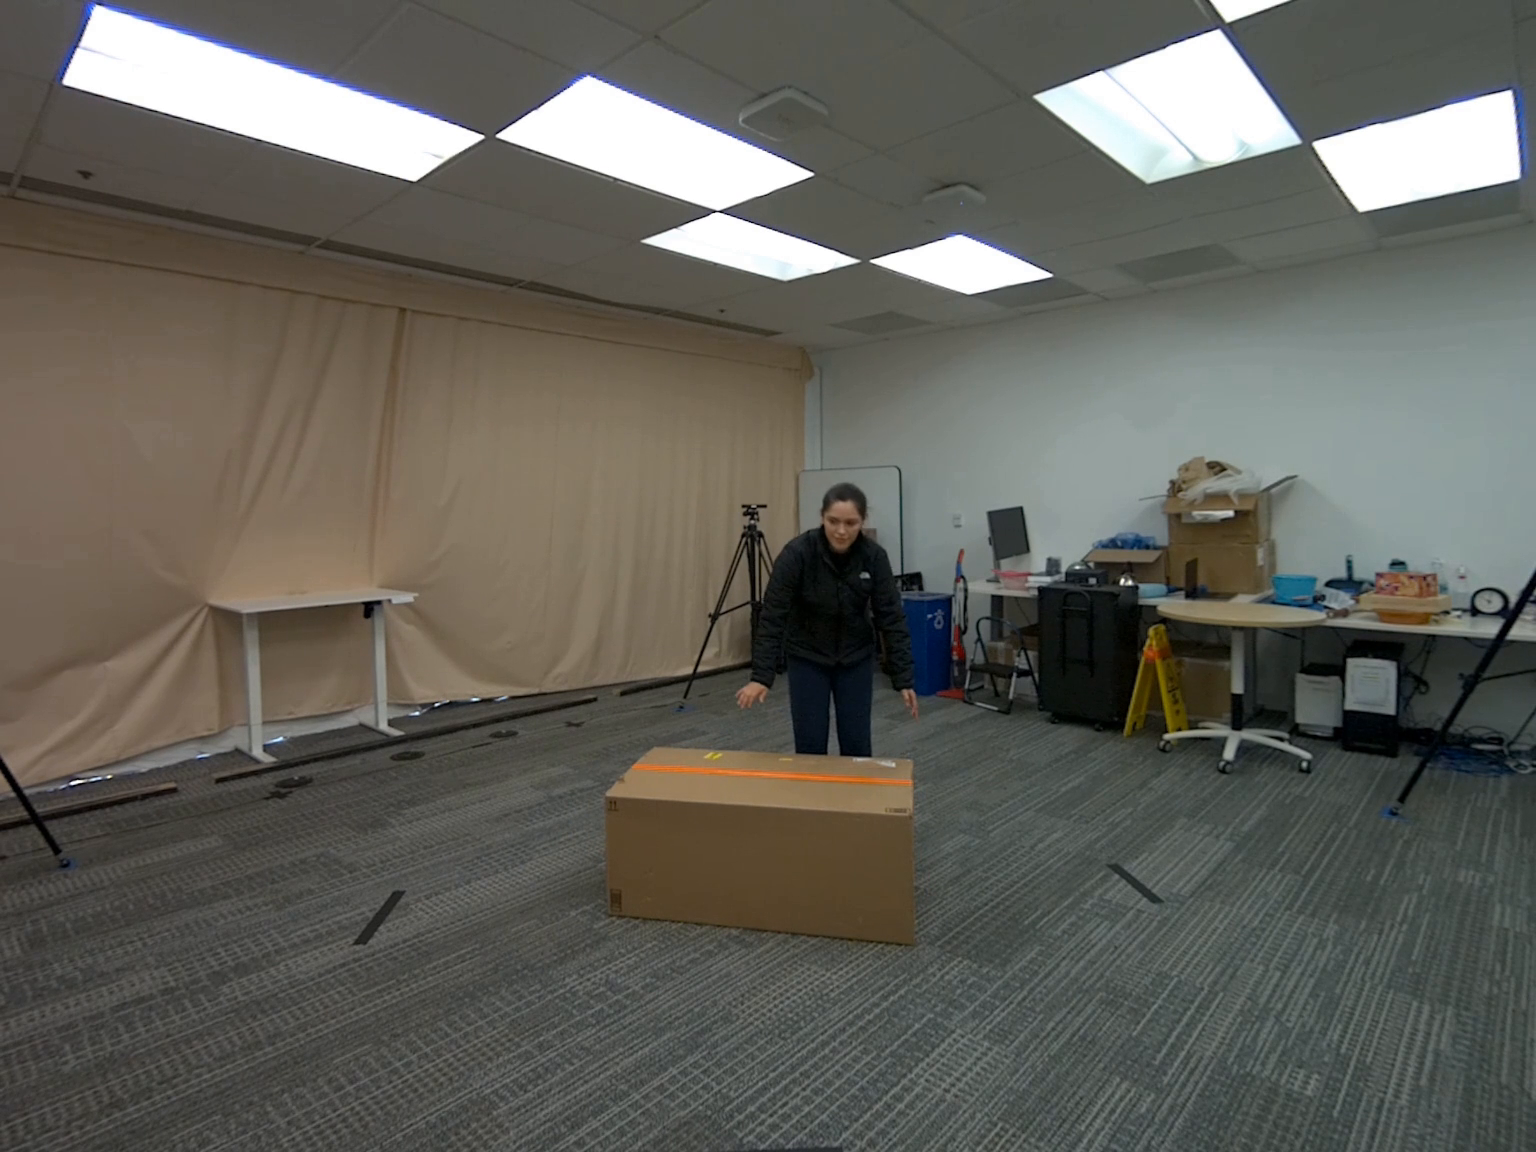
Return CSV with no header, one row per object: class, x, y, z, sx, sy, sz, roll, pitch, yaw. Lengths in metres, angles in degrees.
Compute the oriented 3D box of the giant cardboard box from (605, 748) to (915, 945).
giant cardboard box,0.014,0.918,3.019,1.040,0.425,0.571,0,3,12
